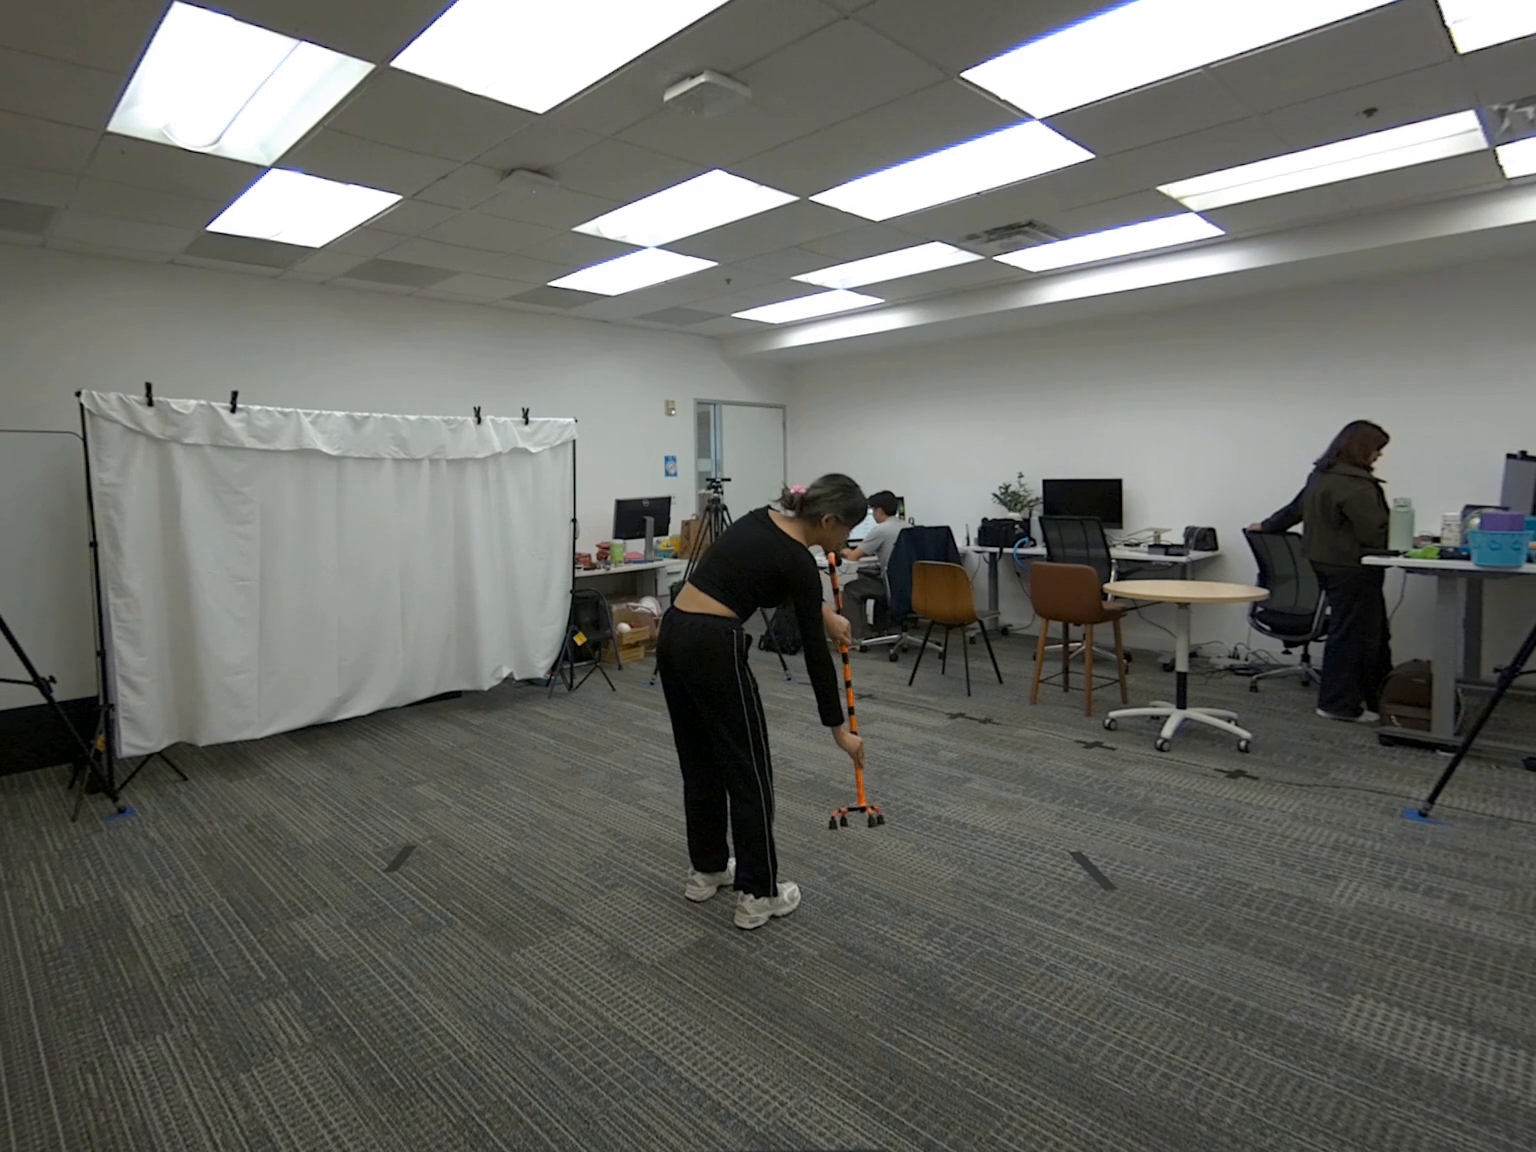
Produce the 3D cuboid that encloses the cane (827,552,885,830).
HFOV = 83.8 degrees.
[{"bbox_3d":[0.244,0.360,2.848,0.153,0.923,0.201,-10,-16,13],"label":"cane"}]
